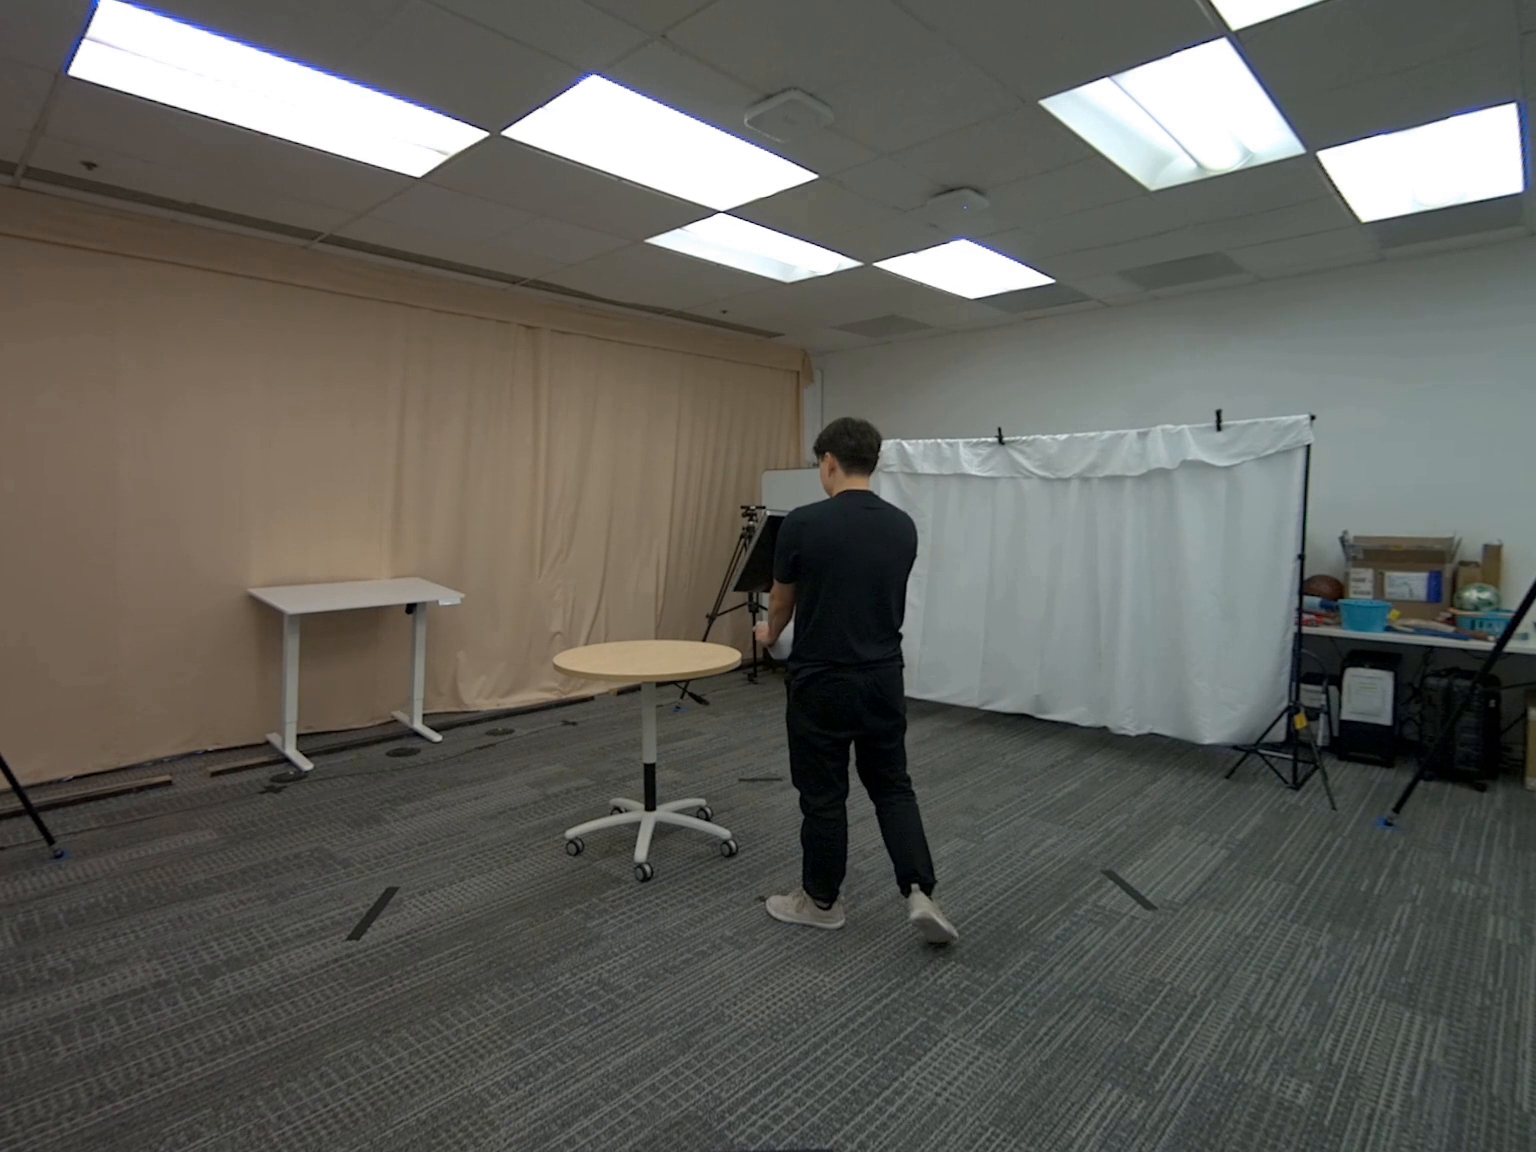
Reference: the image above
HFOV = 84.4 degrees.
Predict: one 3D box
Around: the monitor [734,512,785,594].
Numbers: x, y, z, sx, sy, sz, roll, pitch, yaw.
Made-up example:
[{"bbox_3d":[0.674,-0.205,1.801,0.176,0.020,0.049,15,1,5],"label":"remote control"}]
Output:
[{"bbox_3d":[0.168,0.025,2.885,0.525,0.519,0.193,2,35,-26],"label":"monitor"}]
